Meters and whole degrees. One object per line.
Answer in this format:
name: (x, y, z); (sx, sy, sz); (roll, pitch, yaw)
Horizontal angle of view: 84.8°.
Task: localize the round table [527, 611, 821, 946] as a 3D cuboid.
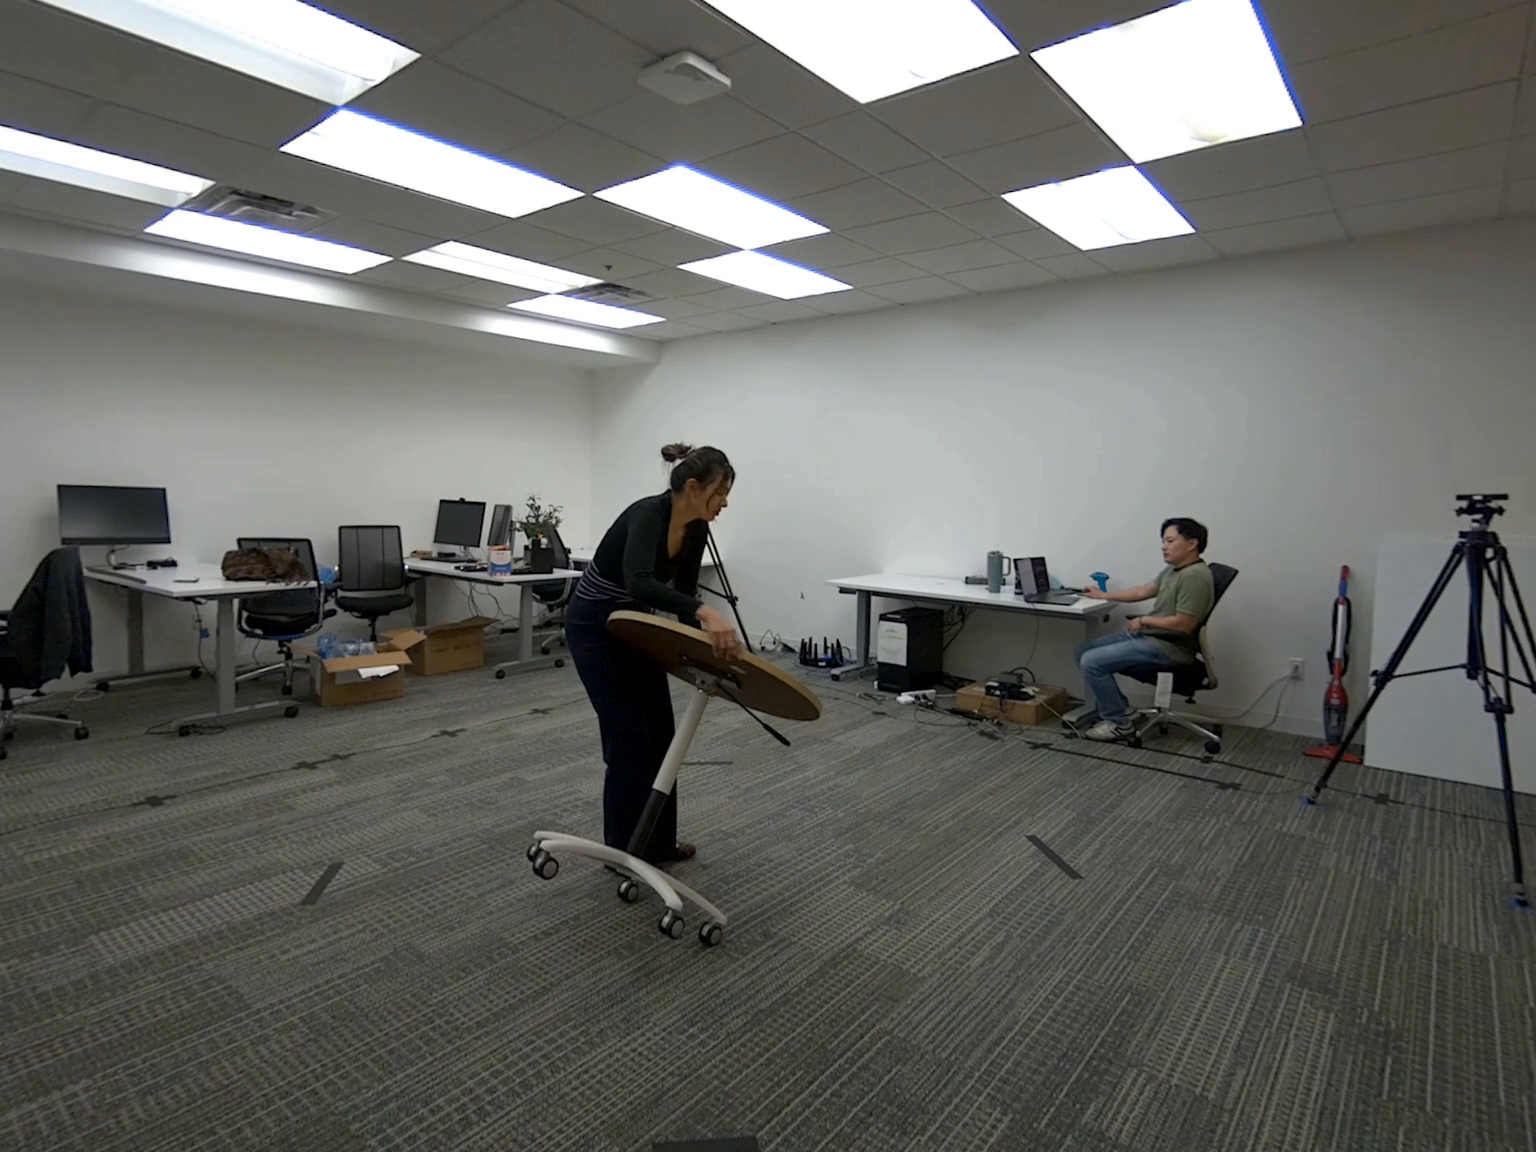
round table: (-0.335, 0.640, 2.689); (0.772, 0.801, 0.750); (21, -19, 6)
